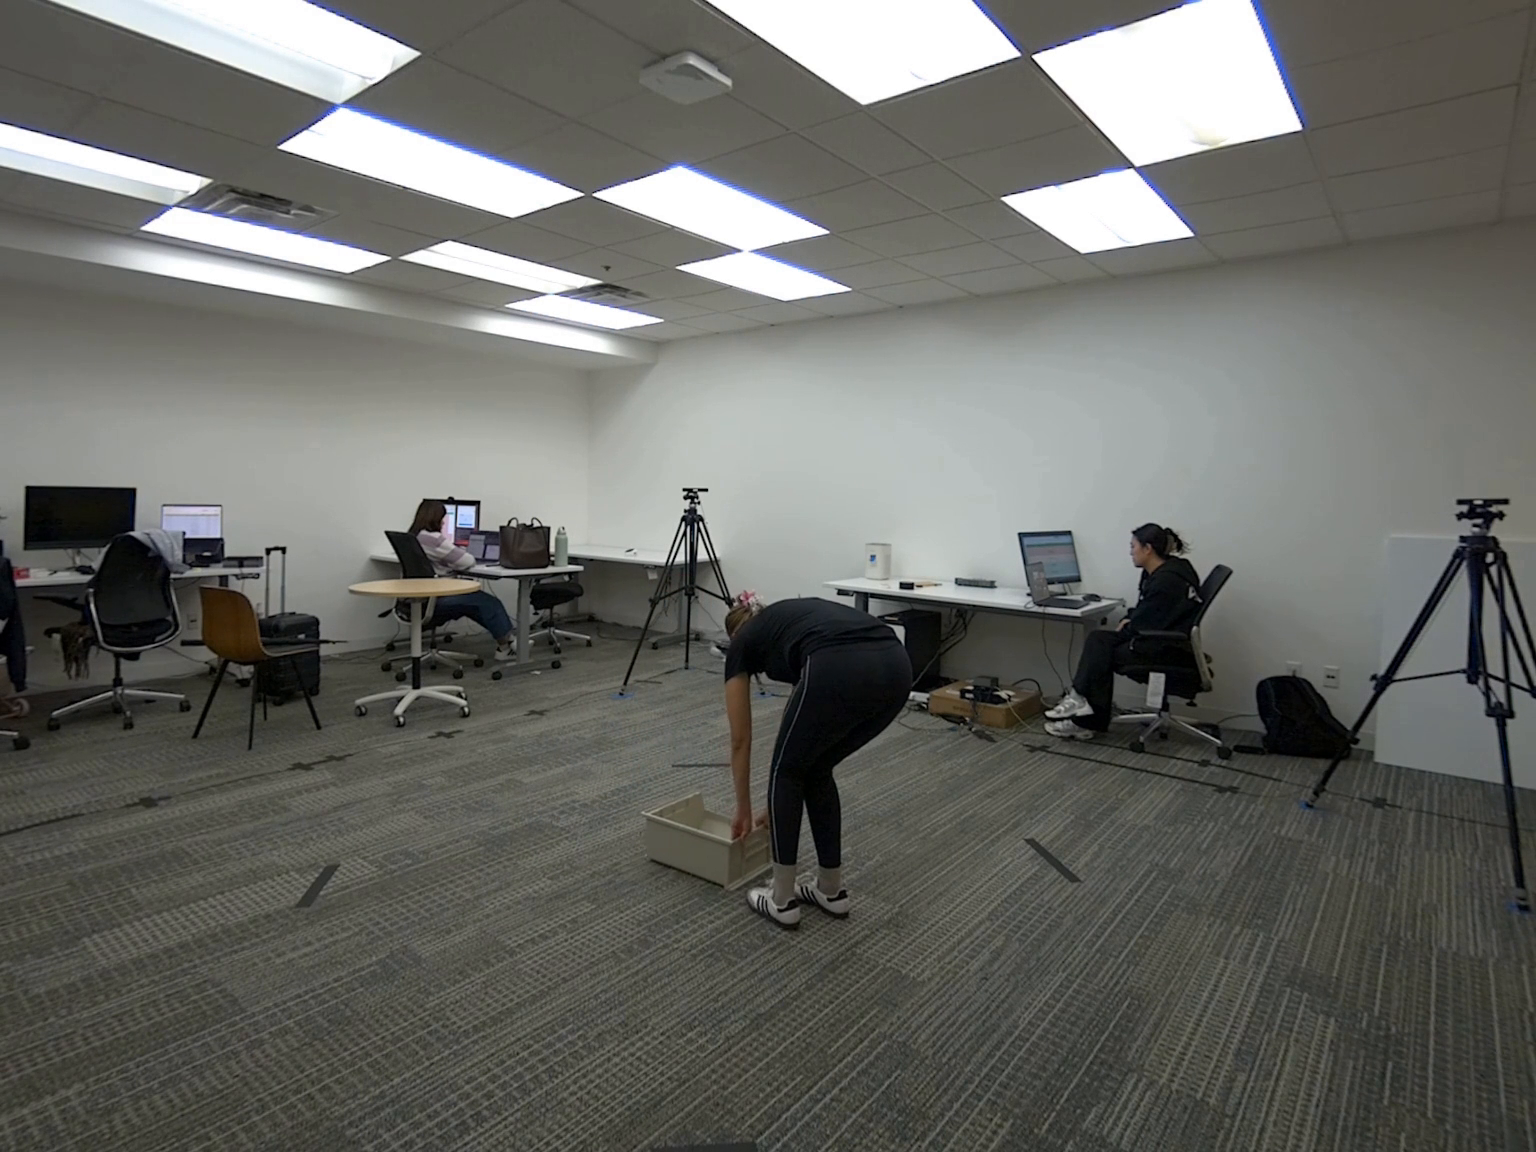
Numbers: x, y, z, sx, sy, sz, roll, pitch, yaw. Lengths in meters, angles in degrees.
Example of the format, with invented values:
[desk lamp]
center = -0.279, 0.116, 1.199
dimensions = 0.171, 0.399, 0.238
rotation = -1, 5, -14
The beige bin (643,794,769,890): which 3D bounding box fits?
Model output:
[beige bin]
center = -0.208, 0.974, 3.197
dimensions = 0.436, 0.188, 0.367
rotation = 5, 7, 35
